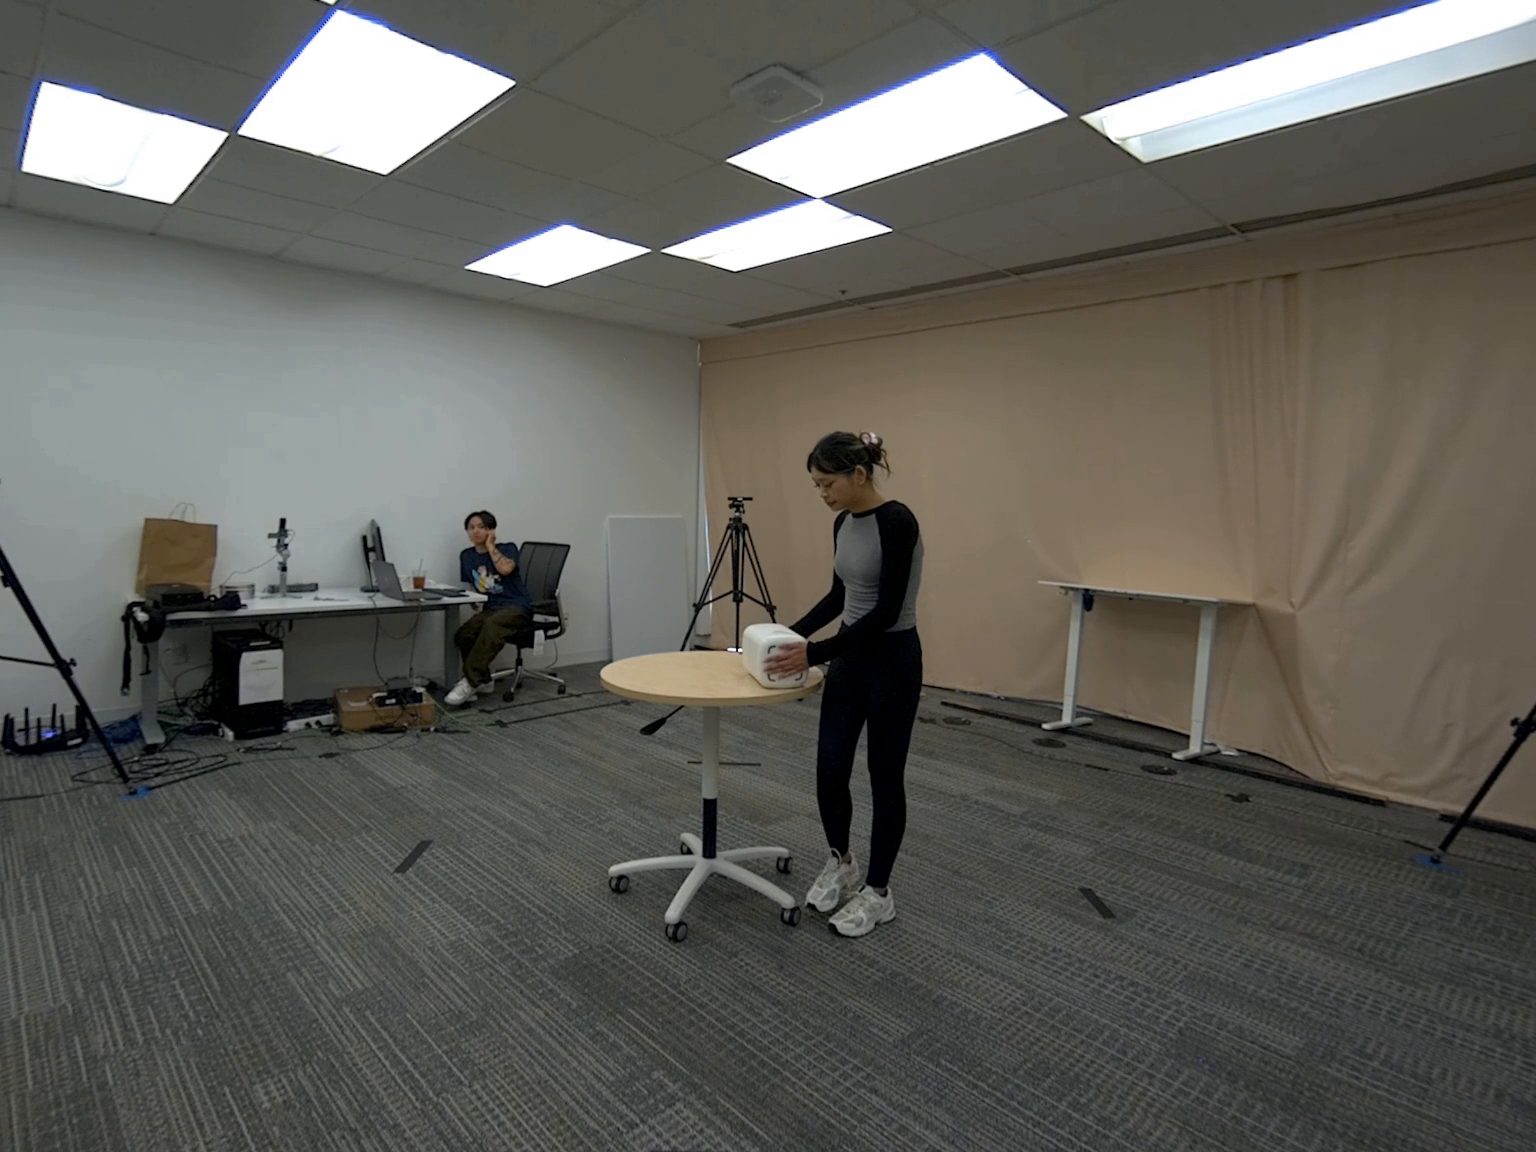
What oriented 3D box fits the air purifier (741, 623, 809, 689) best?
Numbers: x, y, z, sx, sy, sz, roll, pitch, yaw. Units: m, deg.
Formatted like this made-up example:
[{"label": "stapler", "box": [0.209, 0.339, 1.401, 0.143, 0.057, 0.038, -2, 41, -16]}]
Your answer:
[{"label": "air purifier", "box": [0.018, 0.260, 2.769, 0.169, 0.171, 0.269, 1, 5, -13]}]
